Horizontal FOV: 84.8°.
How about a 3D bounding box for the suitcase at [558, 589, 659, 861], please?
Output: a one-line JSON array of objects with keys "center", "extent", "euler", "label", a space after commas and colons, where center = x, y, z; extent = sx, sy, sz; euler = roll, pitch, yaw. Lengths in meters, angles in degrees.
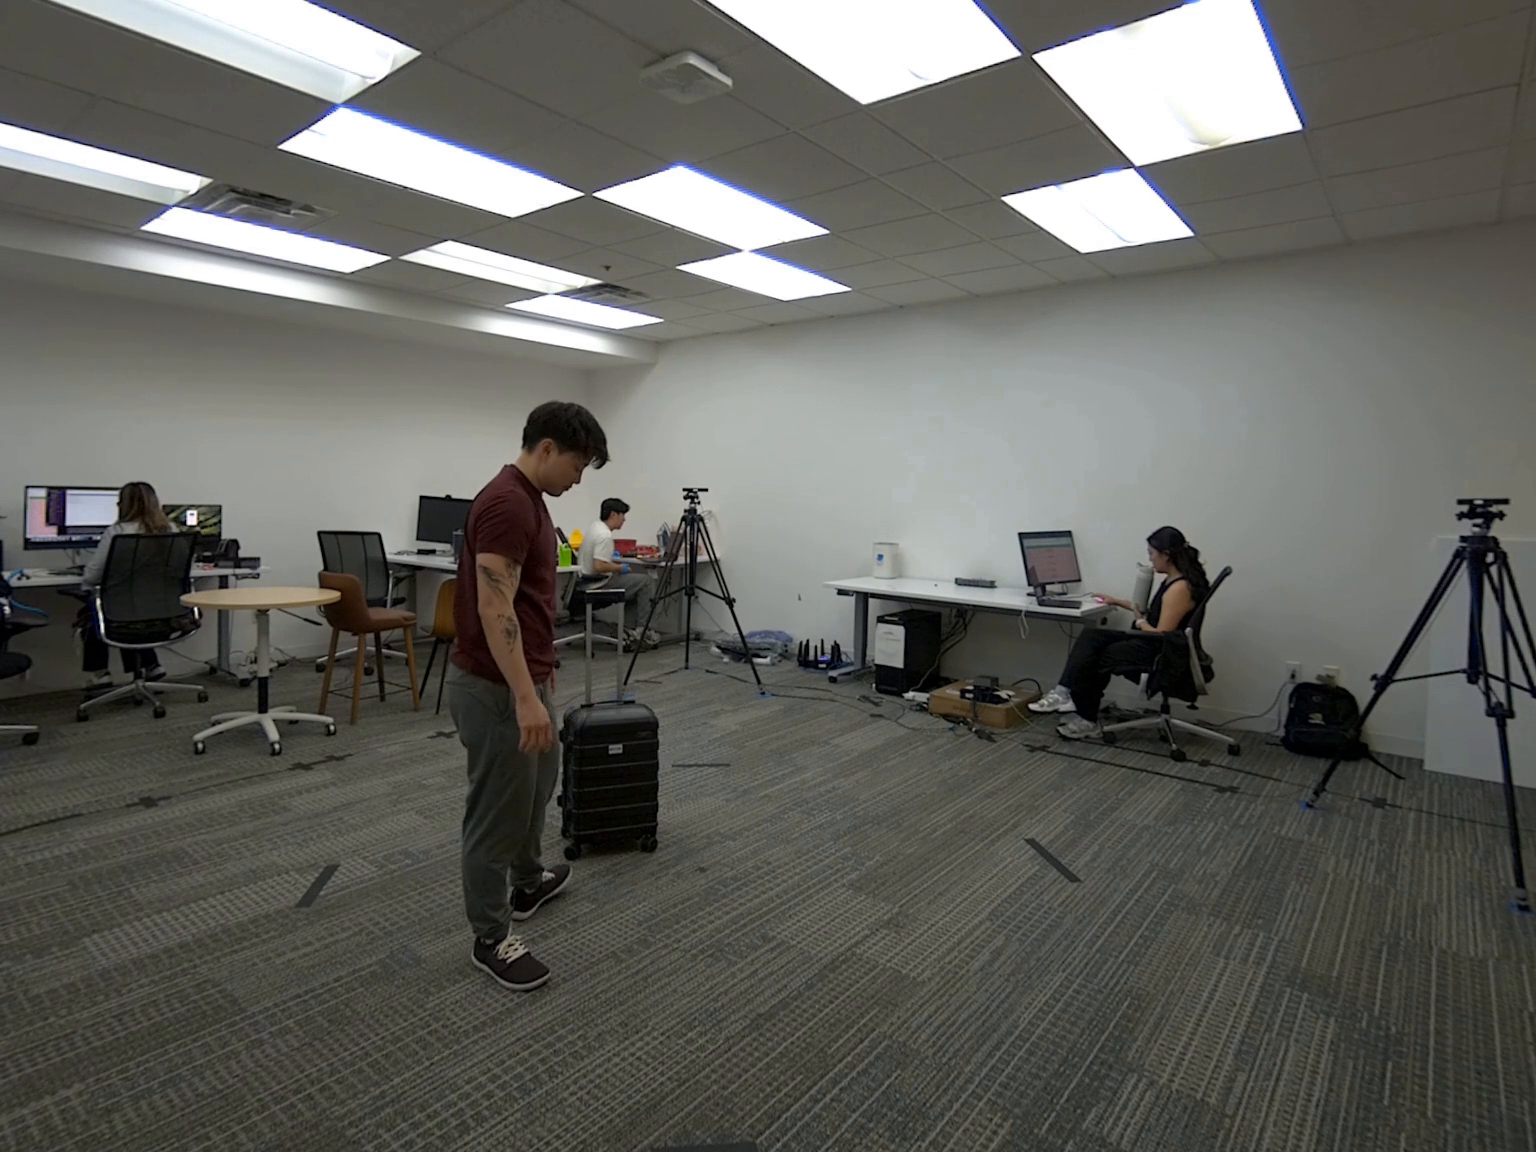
[{"center": [-0.621, 0.567, 3.303], "extent": [0.377, 0.975, 0.263], "euler": [0, 4, -19], "label": "suitcase"}]
